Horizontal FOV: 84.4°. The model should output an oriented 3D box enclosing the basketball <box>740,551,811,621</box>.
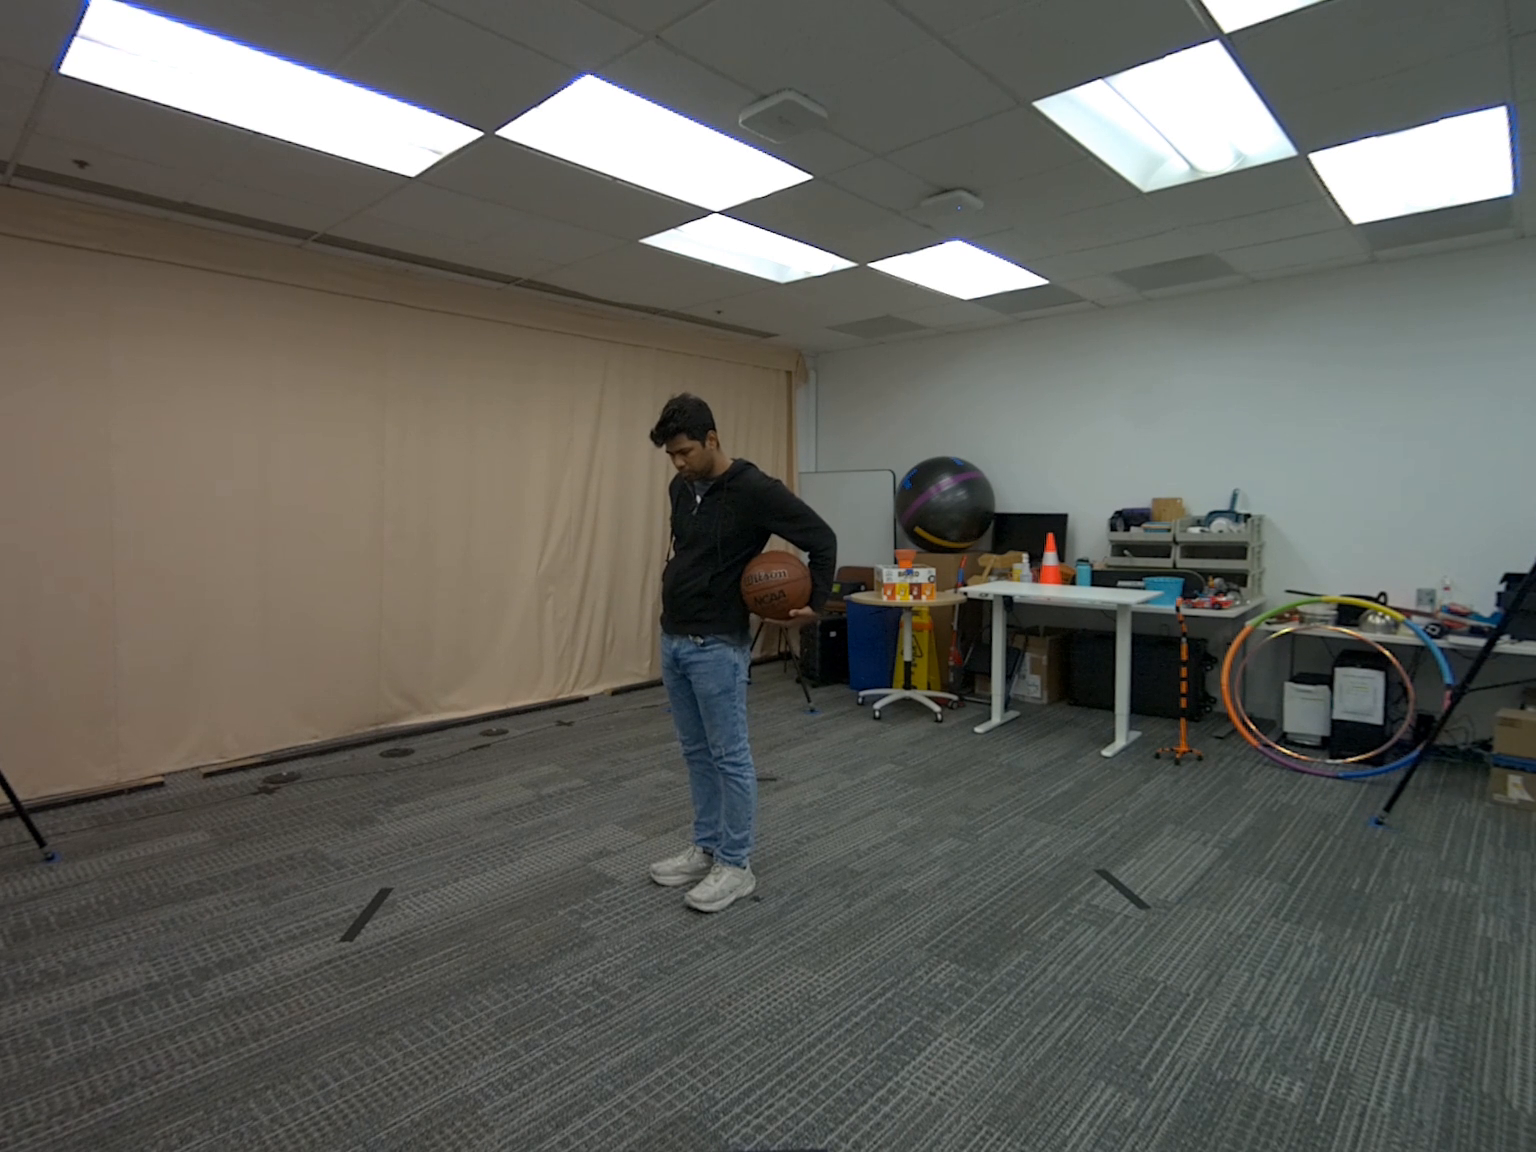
[{"bbox_3d":[0.016,0.030,2.850,0.236,0.235,0.237,0,4,-2],"label":"basketball"}]
